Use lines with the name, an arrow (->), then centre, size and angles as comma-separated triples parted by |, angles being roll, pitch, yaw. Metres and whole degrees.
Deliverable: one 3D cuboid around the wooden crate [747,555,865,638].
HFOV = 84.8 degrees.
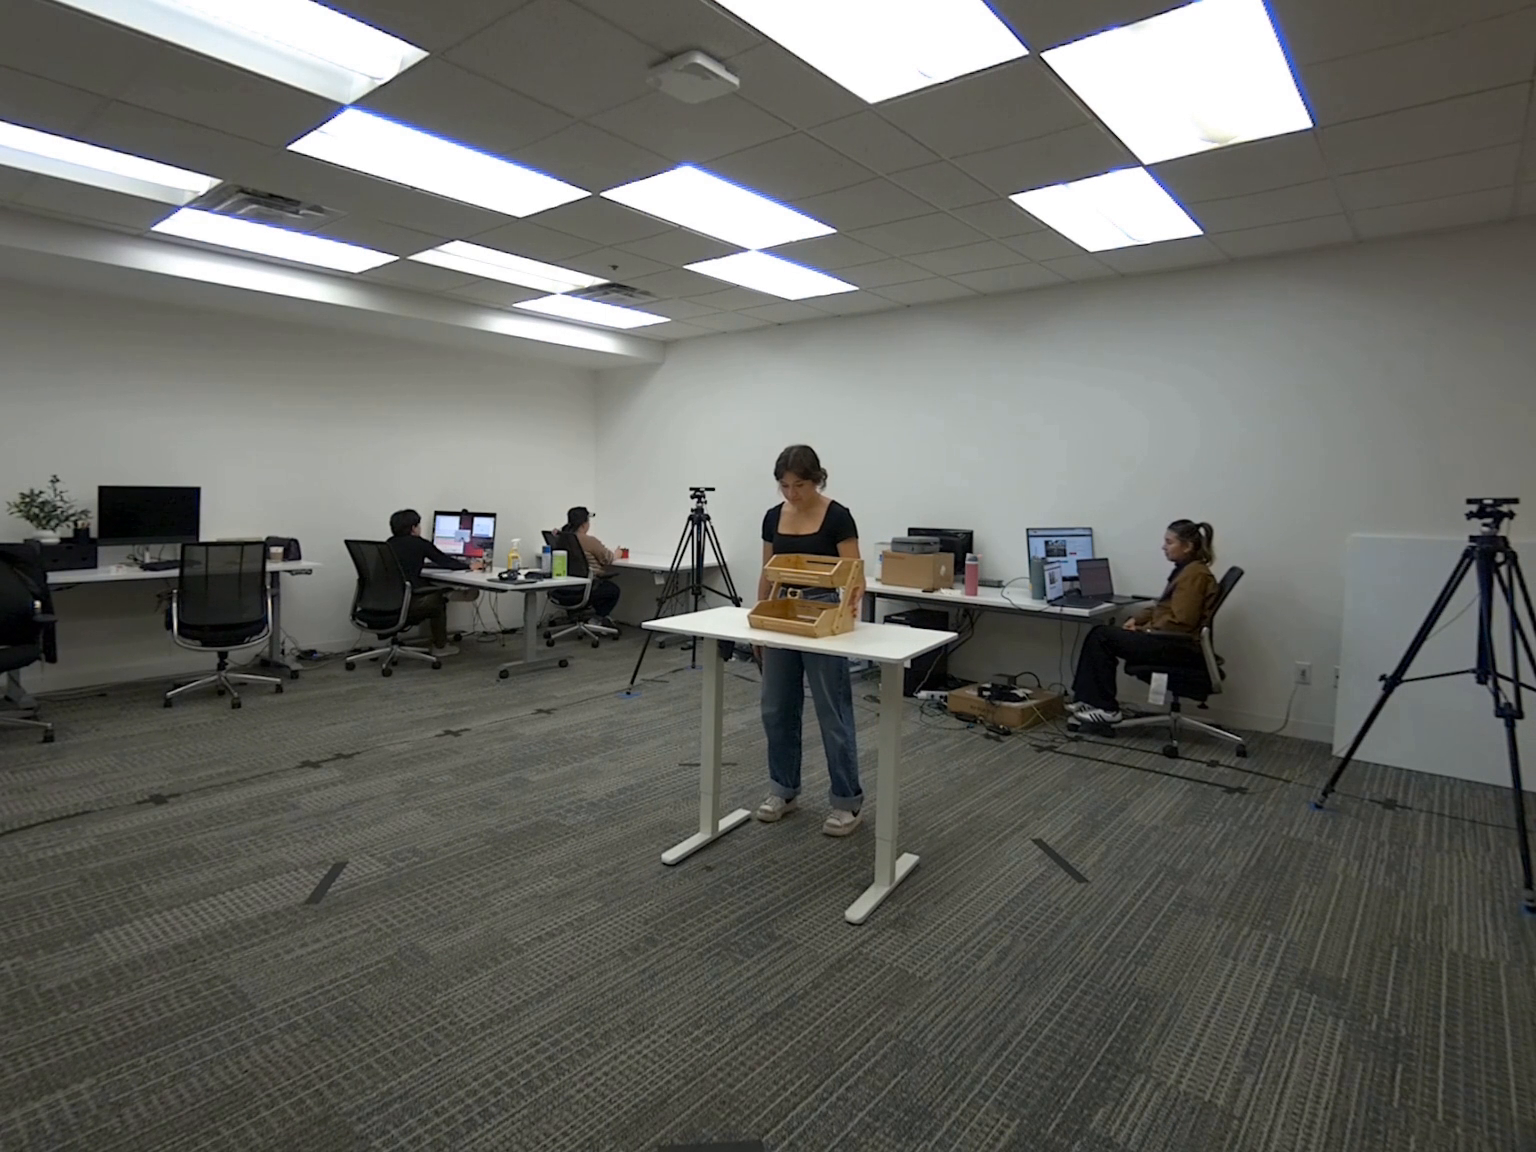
wooden crate -> 0.130, 0.057, 3.119 | 0.335, 0.272, 0.293 | 5, 5, 39
